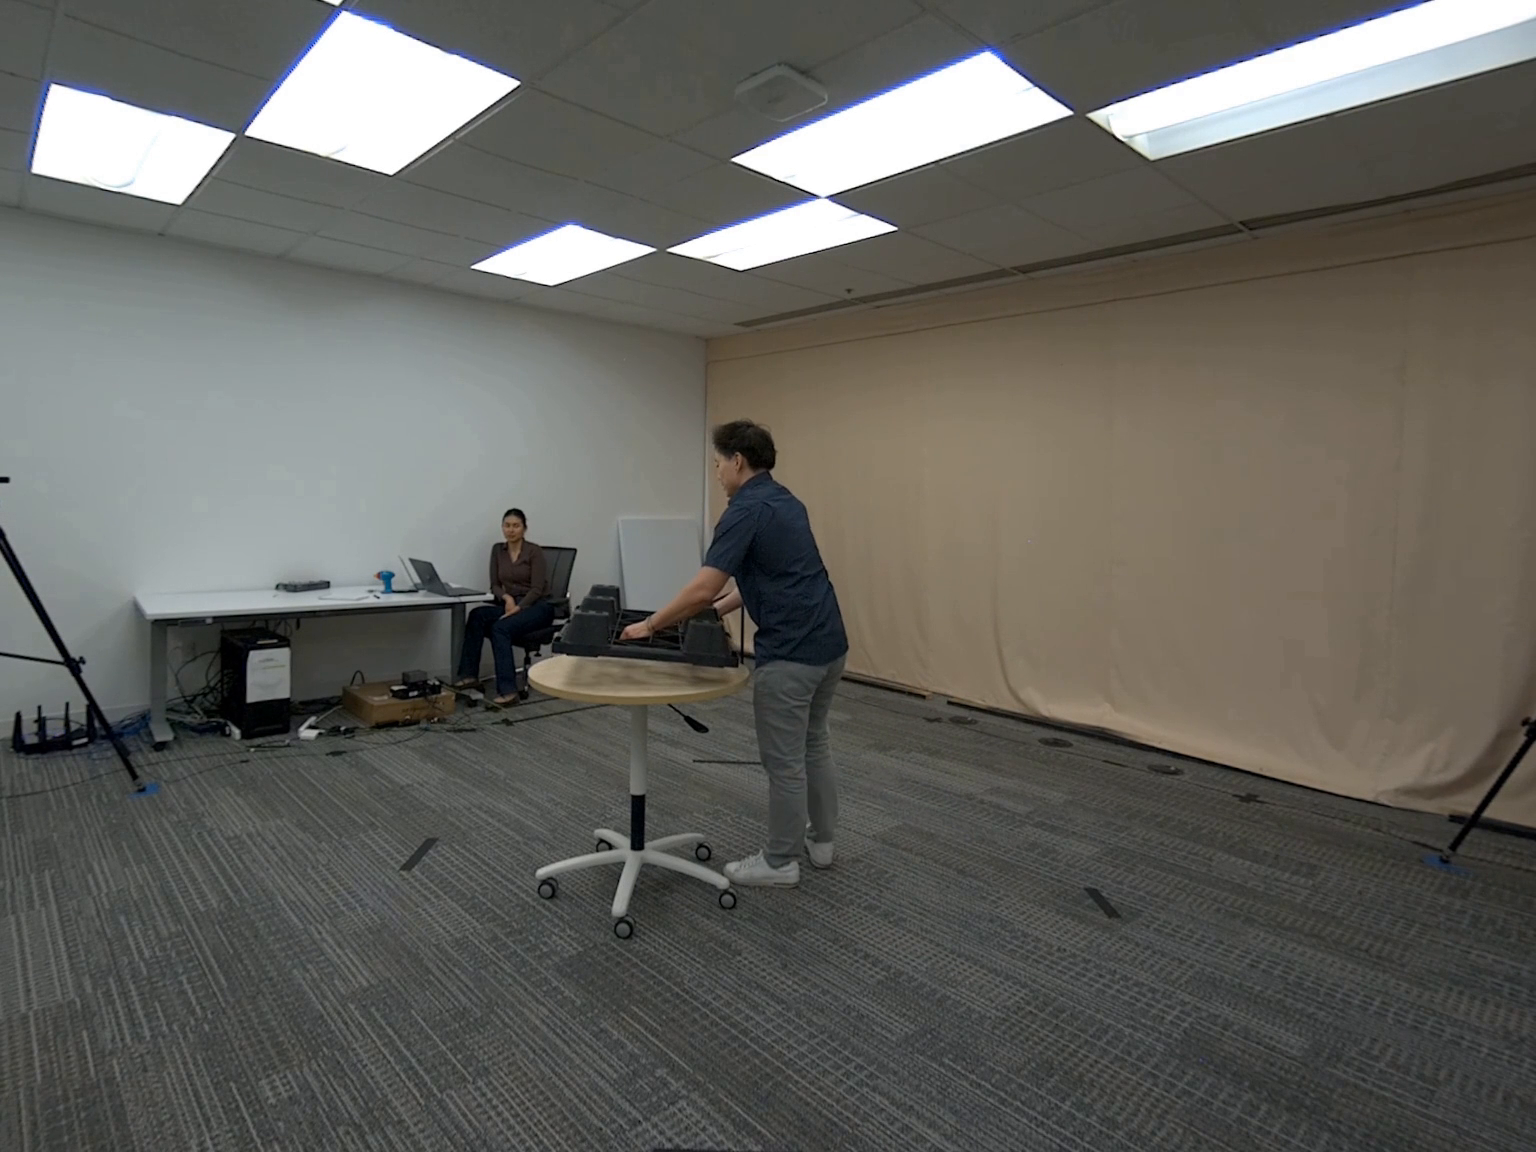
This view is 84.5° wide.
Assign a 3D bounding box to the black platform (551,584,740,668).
[{"bbox_3d":[-0.440,0.161,3.053,0.602,0.143,0.812,5,6,-6],"label":"black platform"}]
